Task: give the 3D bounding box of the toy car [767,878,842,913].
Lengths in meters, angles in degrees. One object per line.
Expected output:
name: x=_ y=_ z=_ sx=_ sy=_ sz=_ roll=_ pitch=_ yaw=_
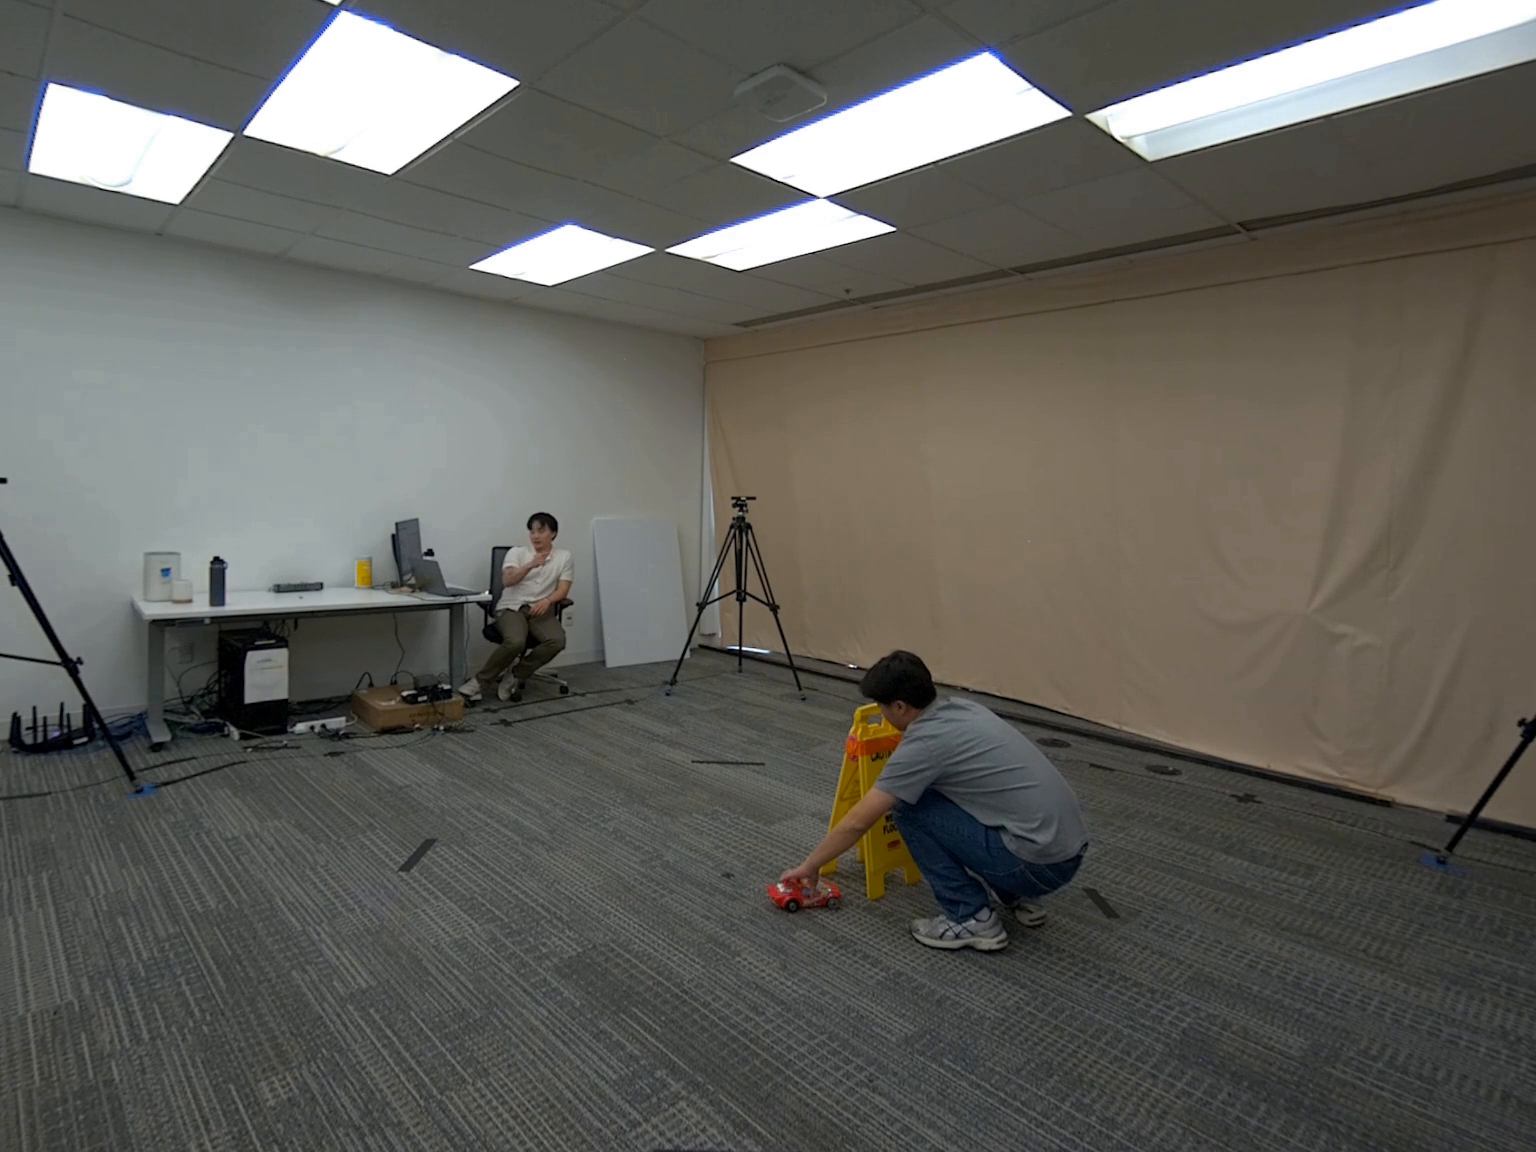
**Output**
toy car: x=0.114 y=1.093 z=2.897 sx=0.252 sy=0.083 sz=0.132 roll=12 pitch=1 yaw=-12
